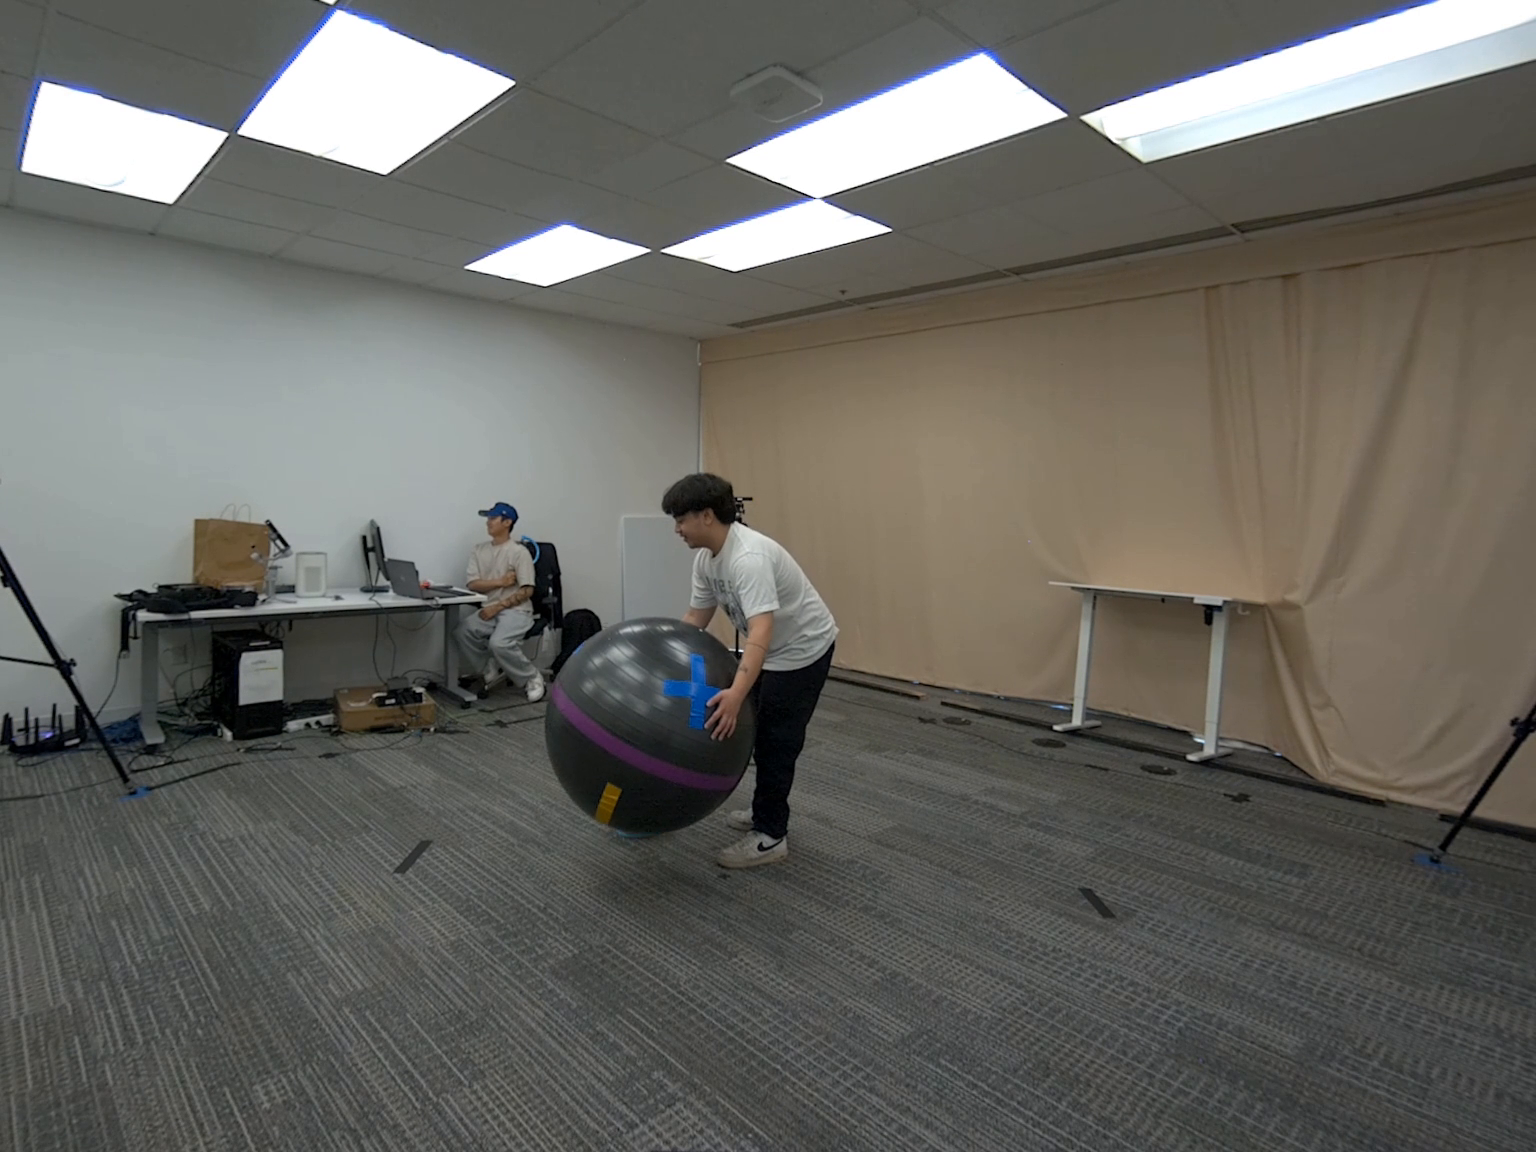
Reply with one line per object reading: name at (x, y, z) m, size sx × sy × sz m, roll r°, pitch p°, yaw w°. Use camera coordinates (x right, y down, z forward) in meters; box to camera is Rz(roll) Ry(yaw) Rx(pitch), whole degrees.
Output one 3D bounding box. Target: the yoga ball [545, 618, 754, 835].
yoga ball at (-0.429, 0.535, 3.038) m, size 0.757 × 0.756 × 0.761 m, roll 1°, pitch 4°, yaw -1°
